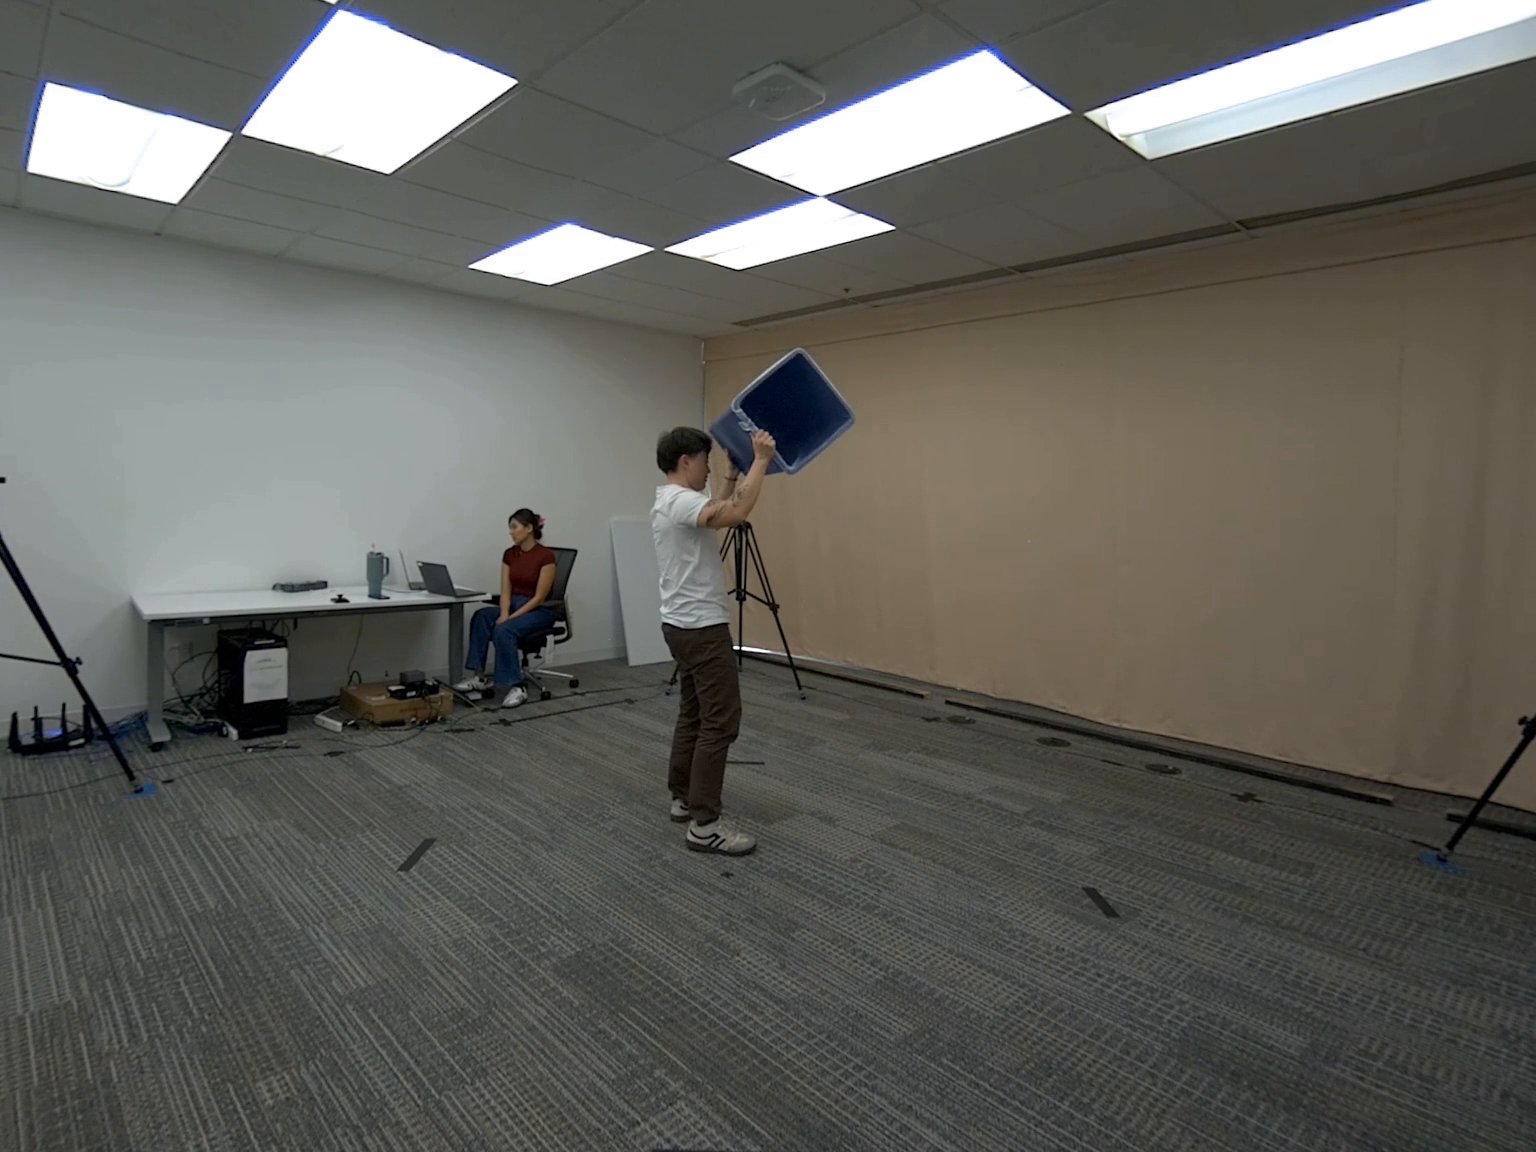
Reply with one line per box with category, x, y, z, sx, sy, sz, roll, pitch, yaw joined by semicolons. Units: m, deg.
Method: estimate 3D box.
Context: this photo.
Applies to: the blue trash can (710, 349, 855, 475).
blue trash can;0.020;-0.642;3.587;0.377;0.370;0.721;-42;10;-9
